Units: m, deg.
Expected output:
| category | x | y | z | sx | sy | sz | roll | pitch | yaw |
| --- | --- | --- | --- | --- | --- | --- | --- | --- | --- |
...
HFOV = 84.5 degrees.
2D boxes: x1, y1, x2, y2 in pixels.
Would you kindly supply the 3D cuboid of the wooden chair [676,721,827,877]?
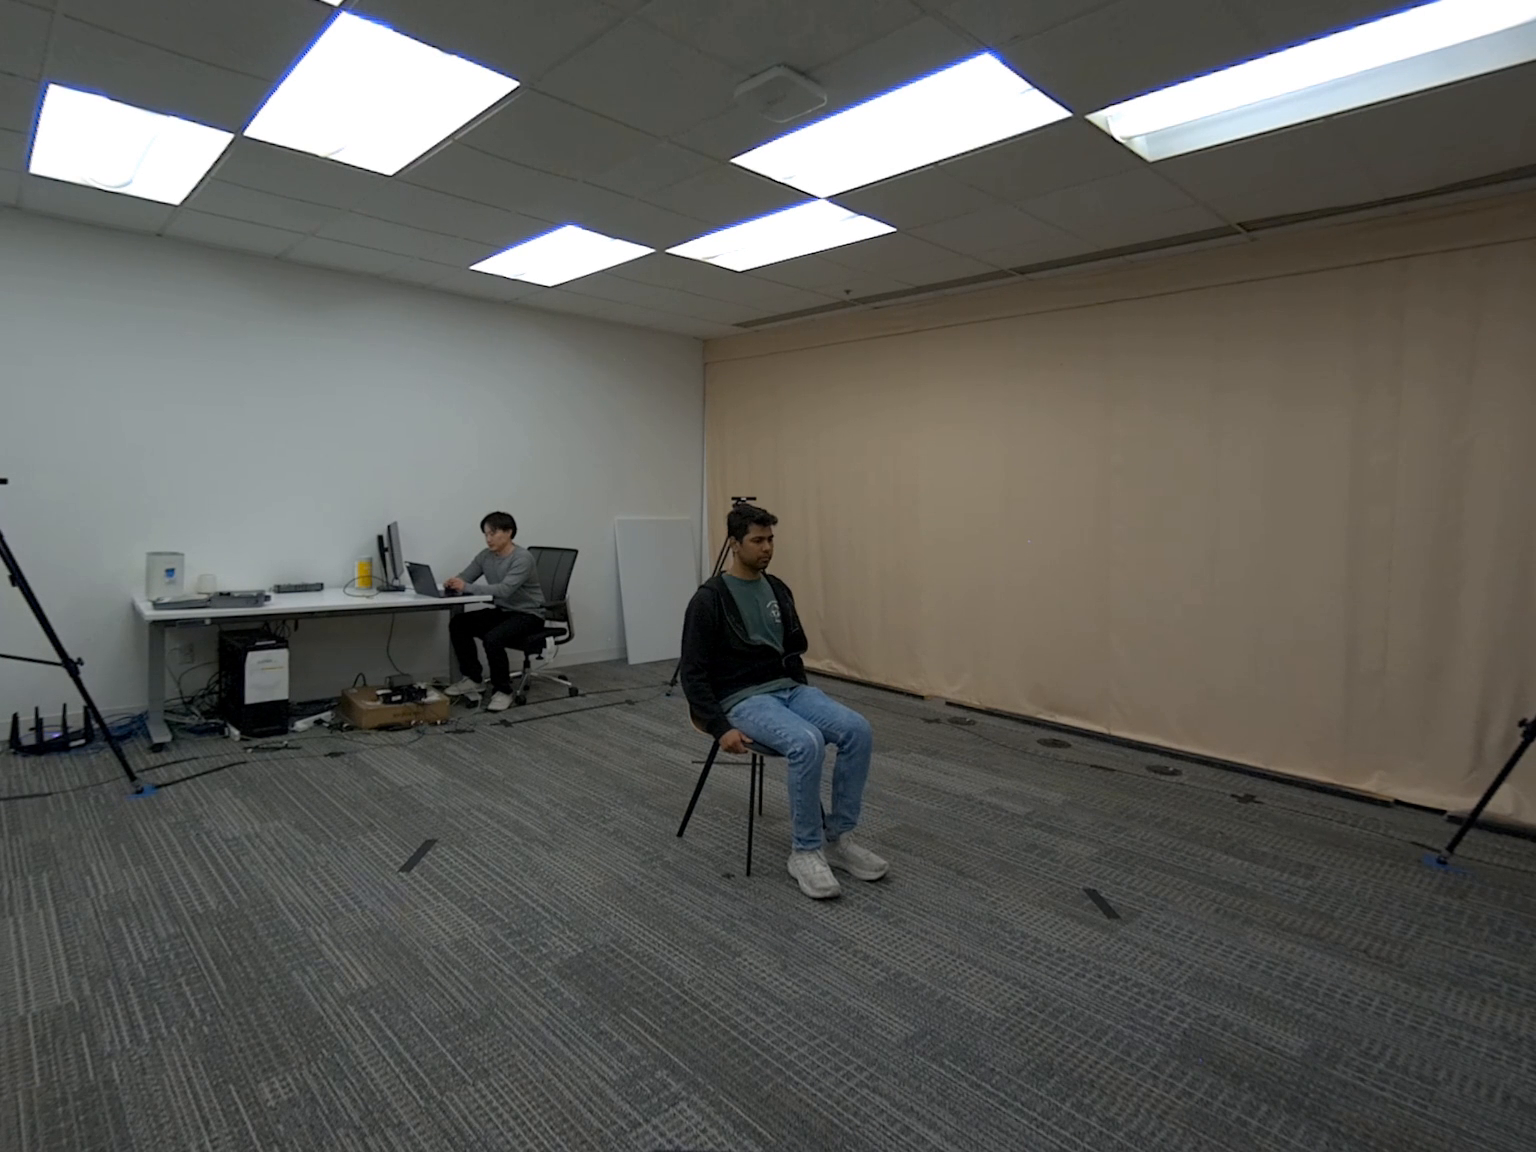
| category | x | y | z | sx | sy | sz | roll | pitch | yaw |
| --- | --- | --- | --- | --- | --- | --- | --- | --- | --- |
| wooden chair | -0.040 | 0.657 | 3.381 | 0.467 | 0.878 | 0.535 | 0 | -1 | -40 |
